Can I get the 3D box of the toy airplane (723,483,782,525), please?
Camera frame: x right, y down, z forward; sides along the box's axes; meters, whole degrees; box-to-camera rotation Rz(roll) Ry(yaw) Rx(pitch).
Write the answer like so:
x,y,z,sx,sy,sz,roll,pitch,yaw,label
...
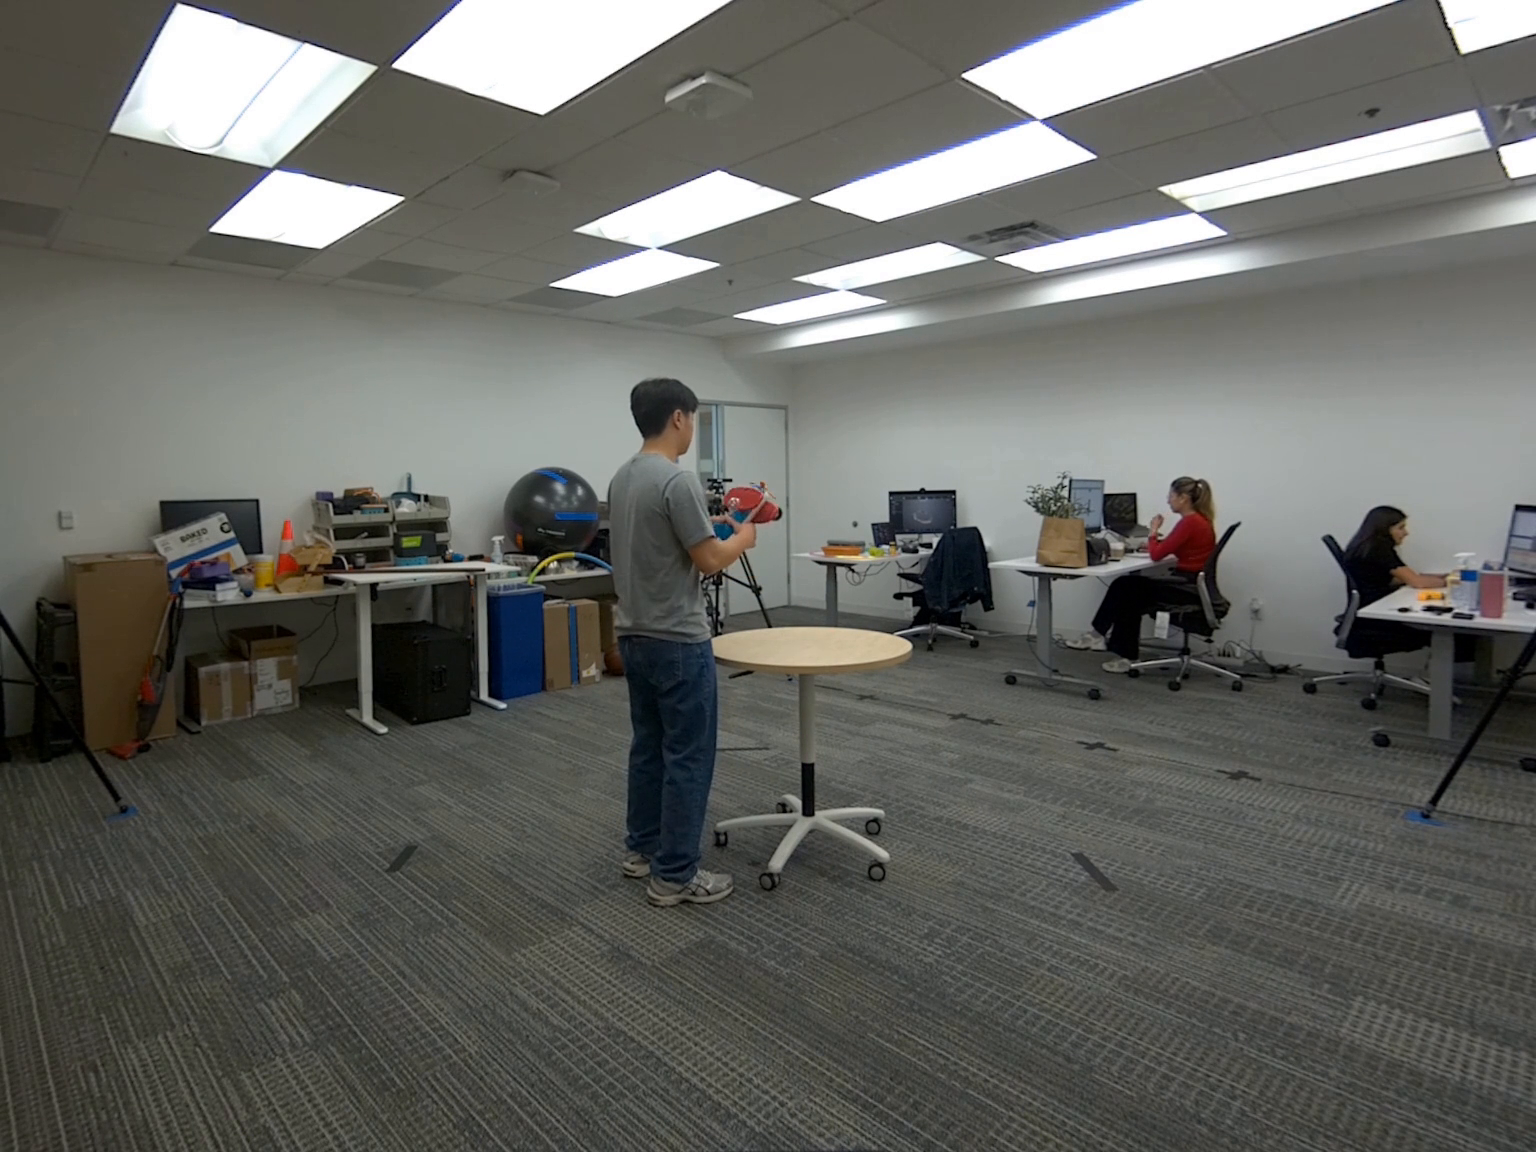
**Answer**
x,y,z,sx,sy,sz,roll,pitch,yaw,label
-0.073,-0.196,3.090,0.256,0.152,0.260,-13,31,39,toy airplane
